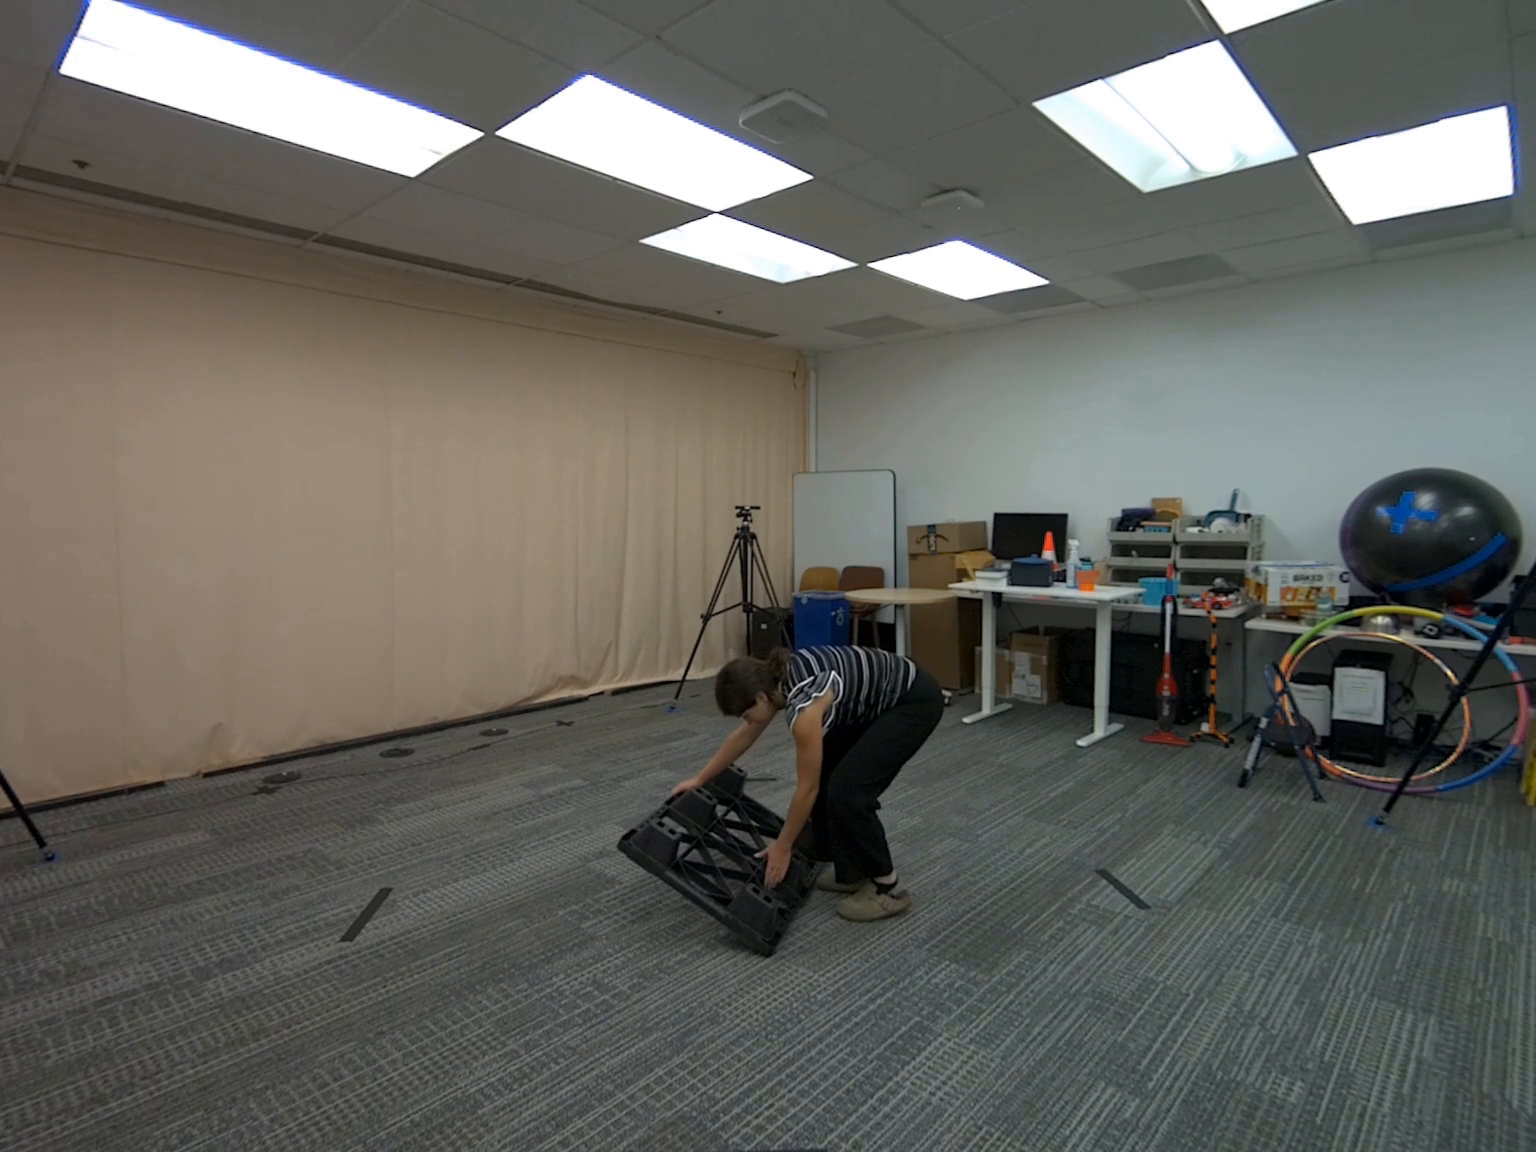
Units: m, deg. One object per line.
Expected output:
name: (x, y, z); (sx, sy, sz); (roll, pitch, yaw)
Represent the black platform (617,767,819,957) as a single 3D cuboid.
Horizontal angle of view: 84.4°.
black platform: (-0.101, 0.951, 3.029); (0.617, 0.143, 0.791); (28, 13, 14)
